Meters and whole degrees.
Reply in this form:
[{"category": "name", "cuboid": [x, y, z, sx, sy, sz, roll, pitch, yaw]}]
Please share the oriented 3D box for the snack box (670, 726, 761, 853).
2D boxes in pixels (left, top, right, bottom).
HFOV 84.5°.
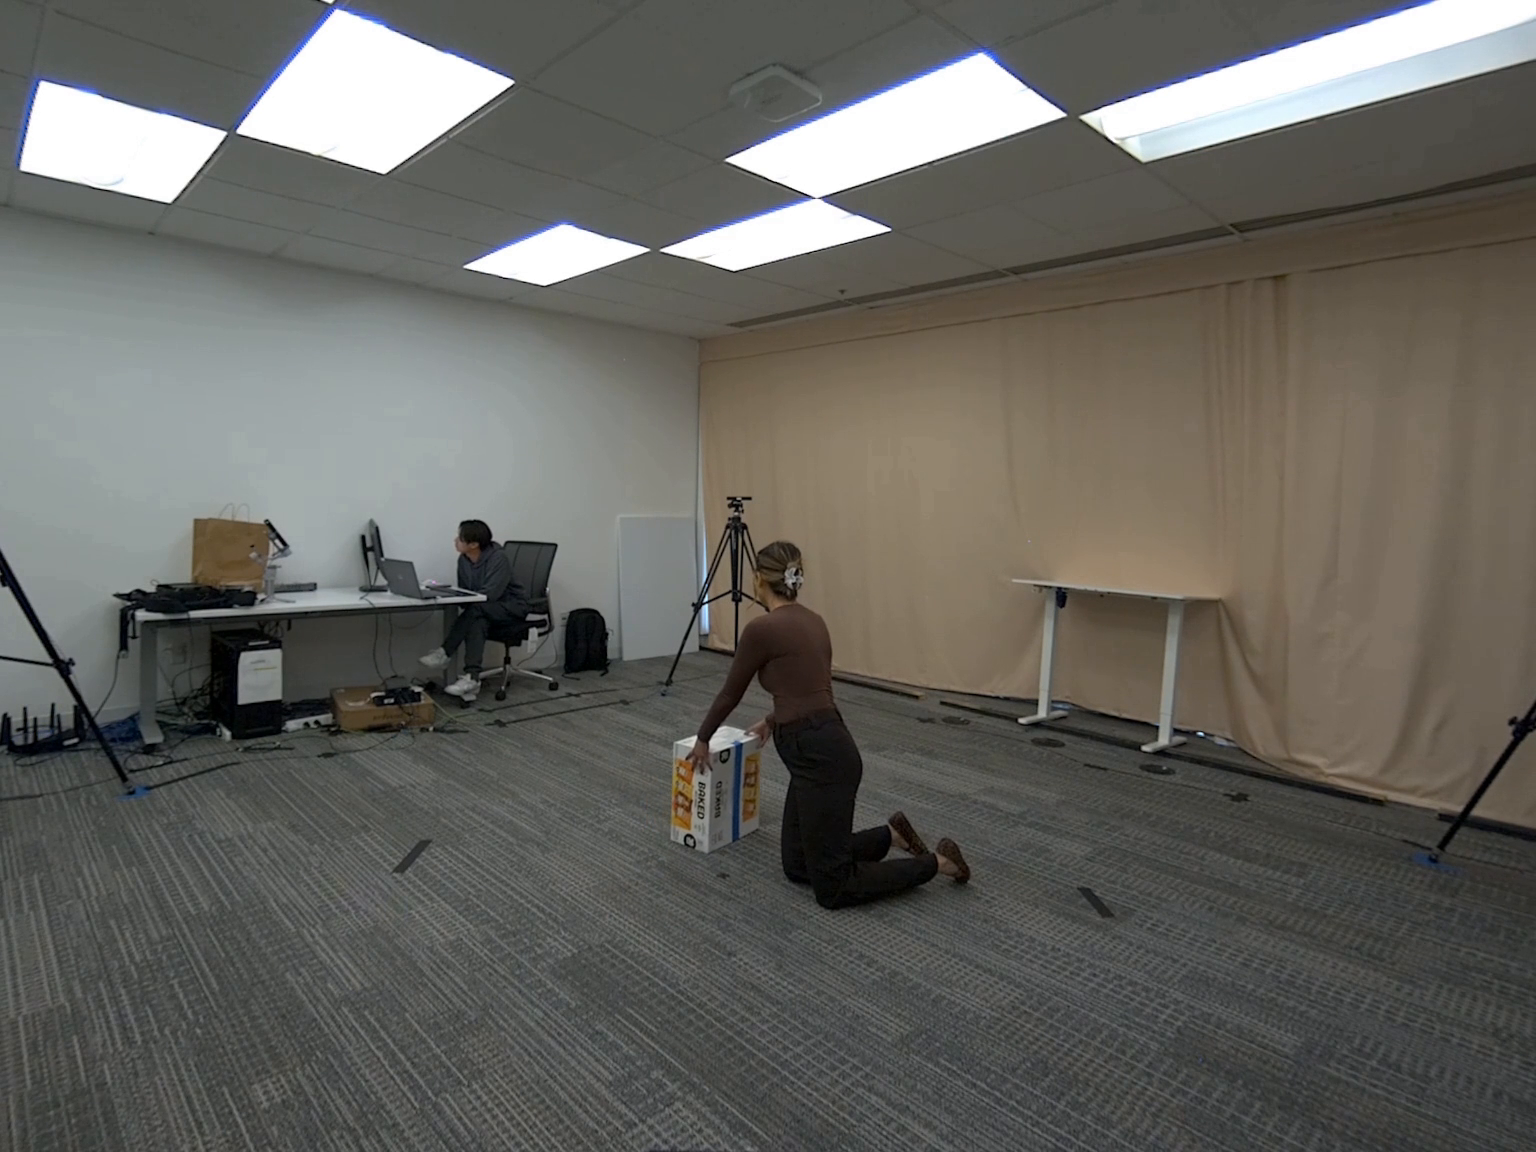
[{"category": "snack box", "cuboid": [-0.217, 0.870, 3.474, 0.211, 0.404, 0.333, 5, 5, 36]}]
